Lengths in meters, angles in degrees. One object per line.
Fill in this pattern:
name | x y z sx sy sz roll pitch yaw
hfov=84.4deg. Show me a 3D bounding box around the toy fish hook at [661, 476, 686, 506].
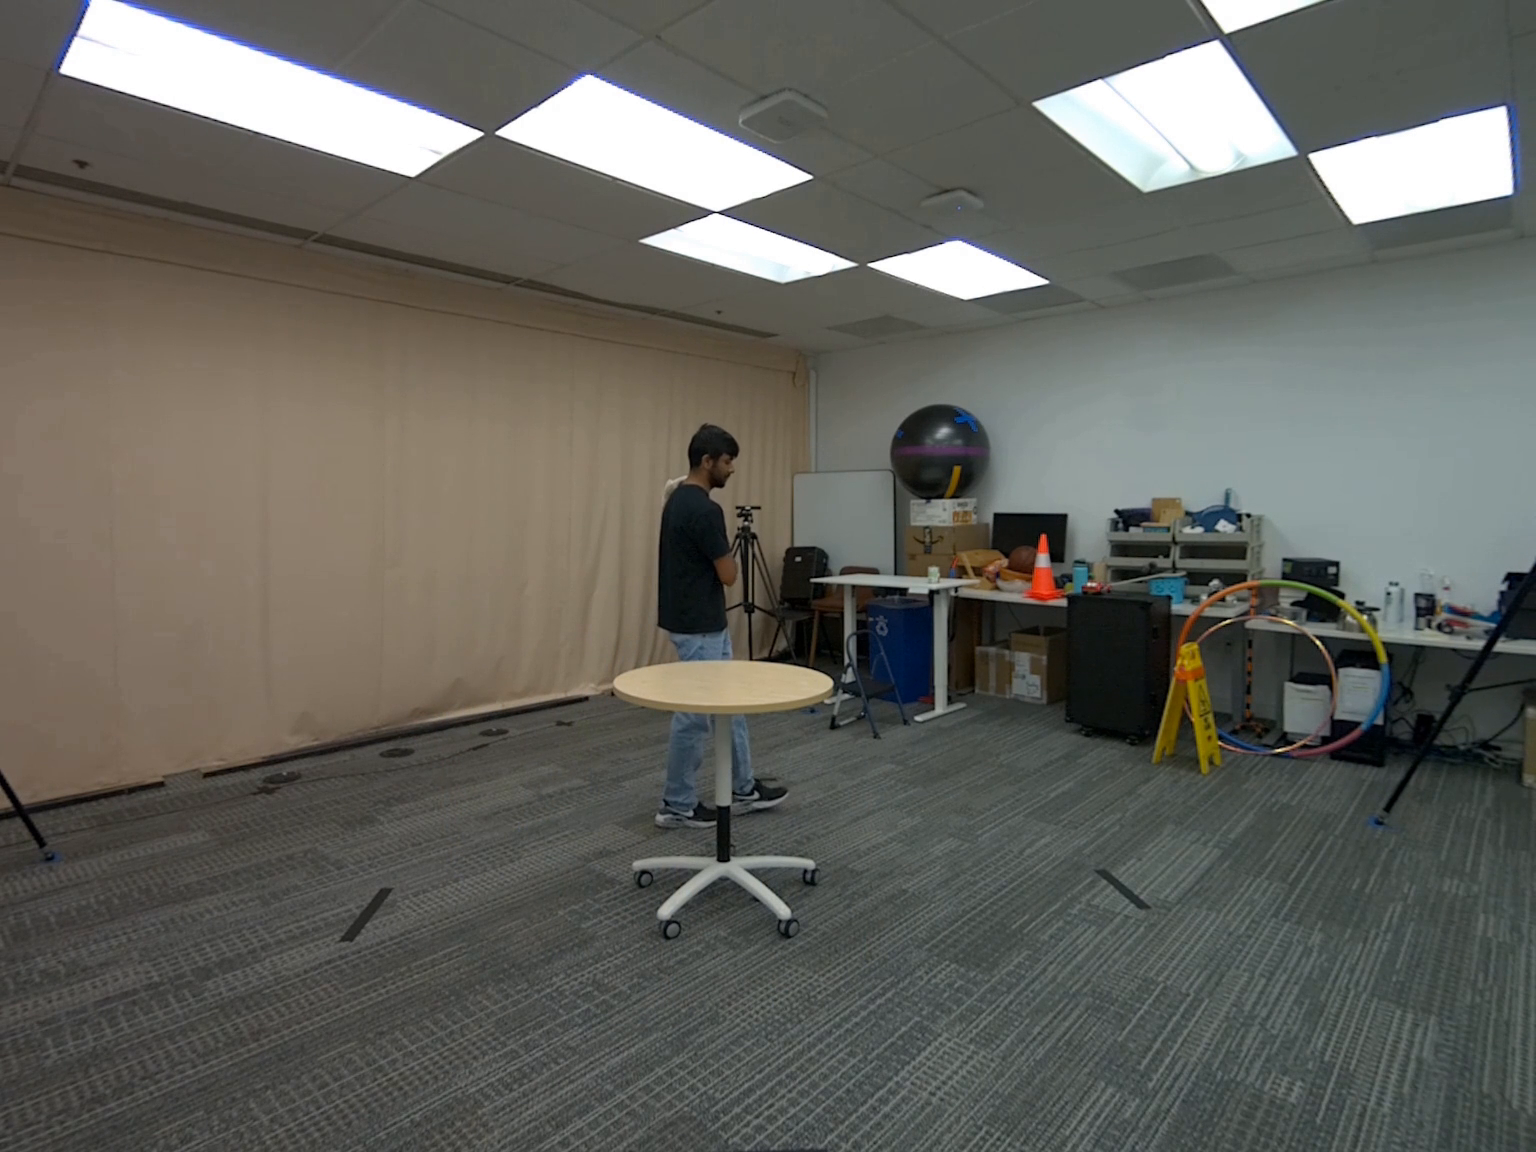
toy fish hook | -0.353 -0.196 3.797 0.225 0.503 0.048 -11 8 2
